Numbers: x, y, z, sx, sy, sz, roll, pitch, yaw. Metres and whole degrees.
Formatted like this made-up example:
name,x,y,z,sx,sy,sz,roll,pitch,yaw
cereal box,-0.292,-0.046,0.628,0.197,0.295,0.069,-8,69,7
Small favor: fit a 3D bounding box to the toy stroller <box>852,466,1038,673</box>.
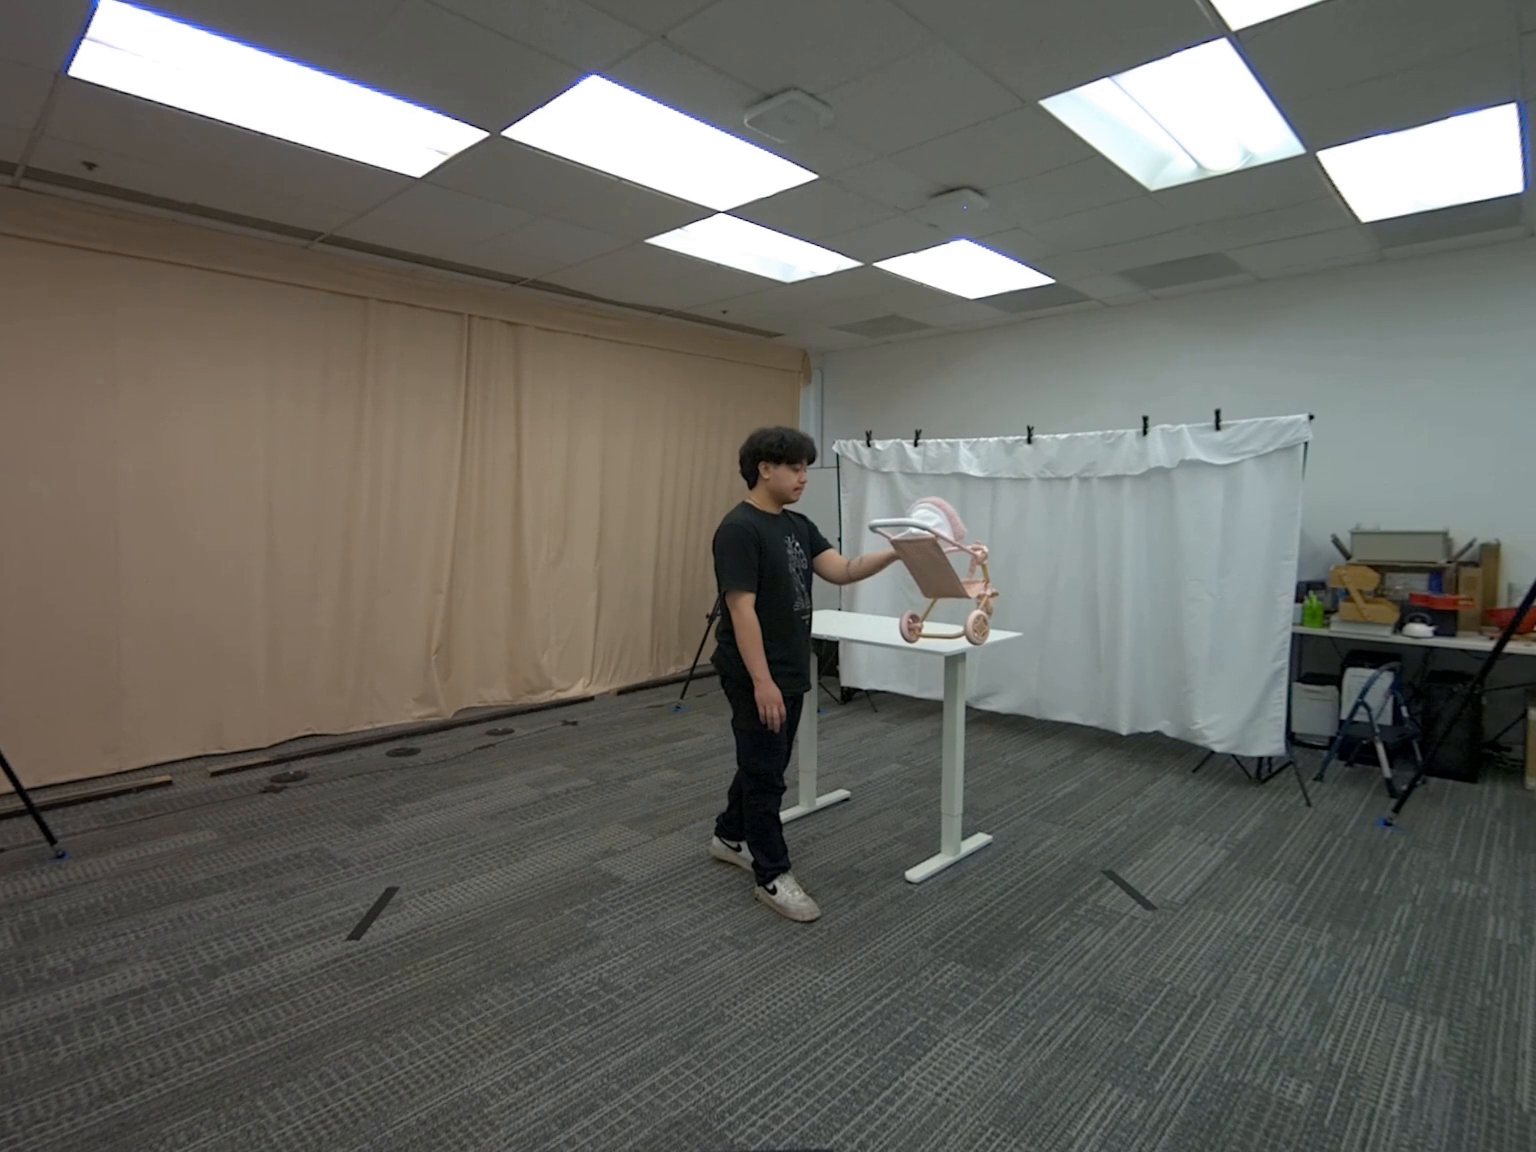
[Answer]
name,x,y,z,sx,sy,sz,roll,pitch,yaw
toy stroller,0.571,-0.023,2.718,0.336,0.527,0.290,-35,19,-33
